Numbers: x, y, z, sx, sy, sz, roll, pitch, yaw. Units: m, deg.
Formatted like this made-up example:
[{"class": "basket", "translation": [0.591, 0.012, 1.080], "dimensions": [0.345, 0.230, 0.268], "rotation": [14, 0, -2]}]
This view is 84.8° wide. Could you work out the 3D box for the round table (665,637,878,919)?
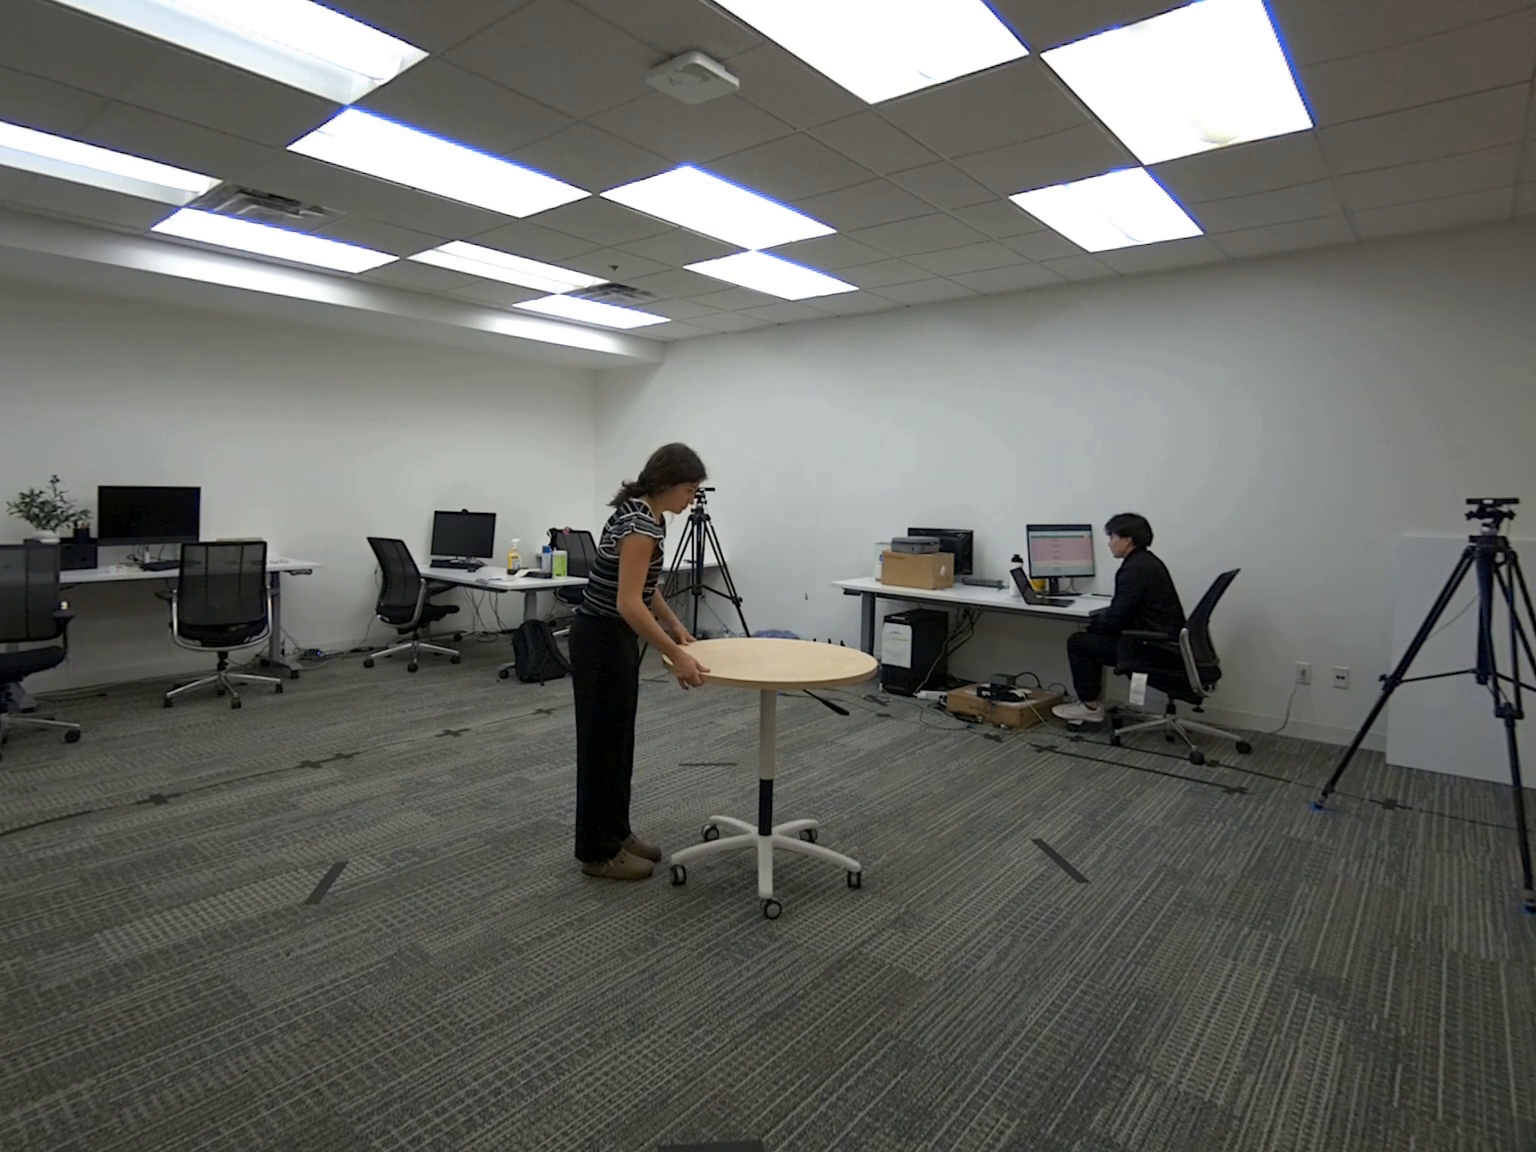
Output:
[{"class": "round table", "translation": [-0.024, 0.682, 3.072], "dimensions": [0.784, 0.784, 0.789], "rotation": [2, 4, -2]}]
